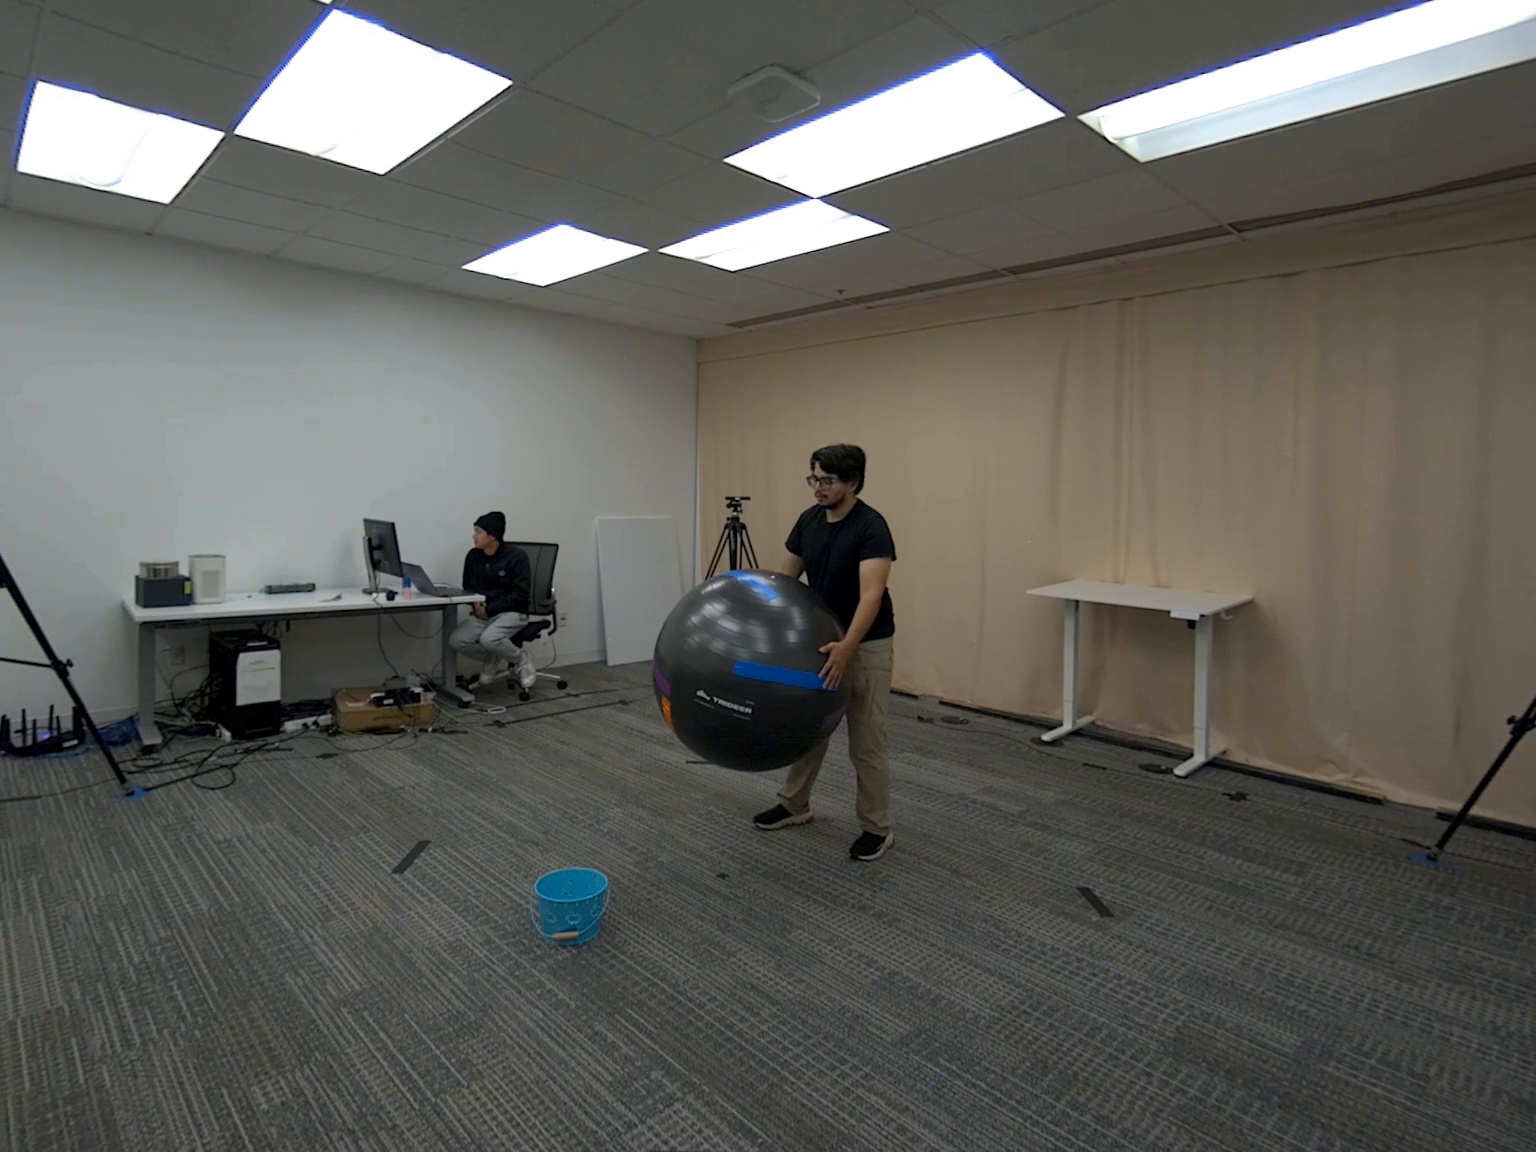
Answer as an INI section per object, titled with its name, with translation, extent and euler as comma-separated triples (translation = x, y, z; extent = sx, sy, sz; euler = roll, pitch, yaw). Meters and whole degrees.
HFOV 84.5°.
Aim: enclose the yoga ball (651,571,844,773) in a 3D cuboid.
[yoga ball]
translation = -0.066, 0.360, 3.187
extent = 0.757, 0.756, 0.760
euler = 1, 4, -1
